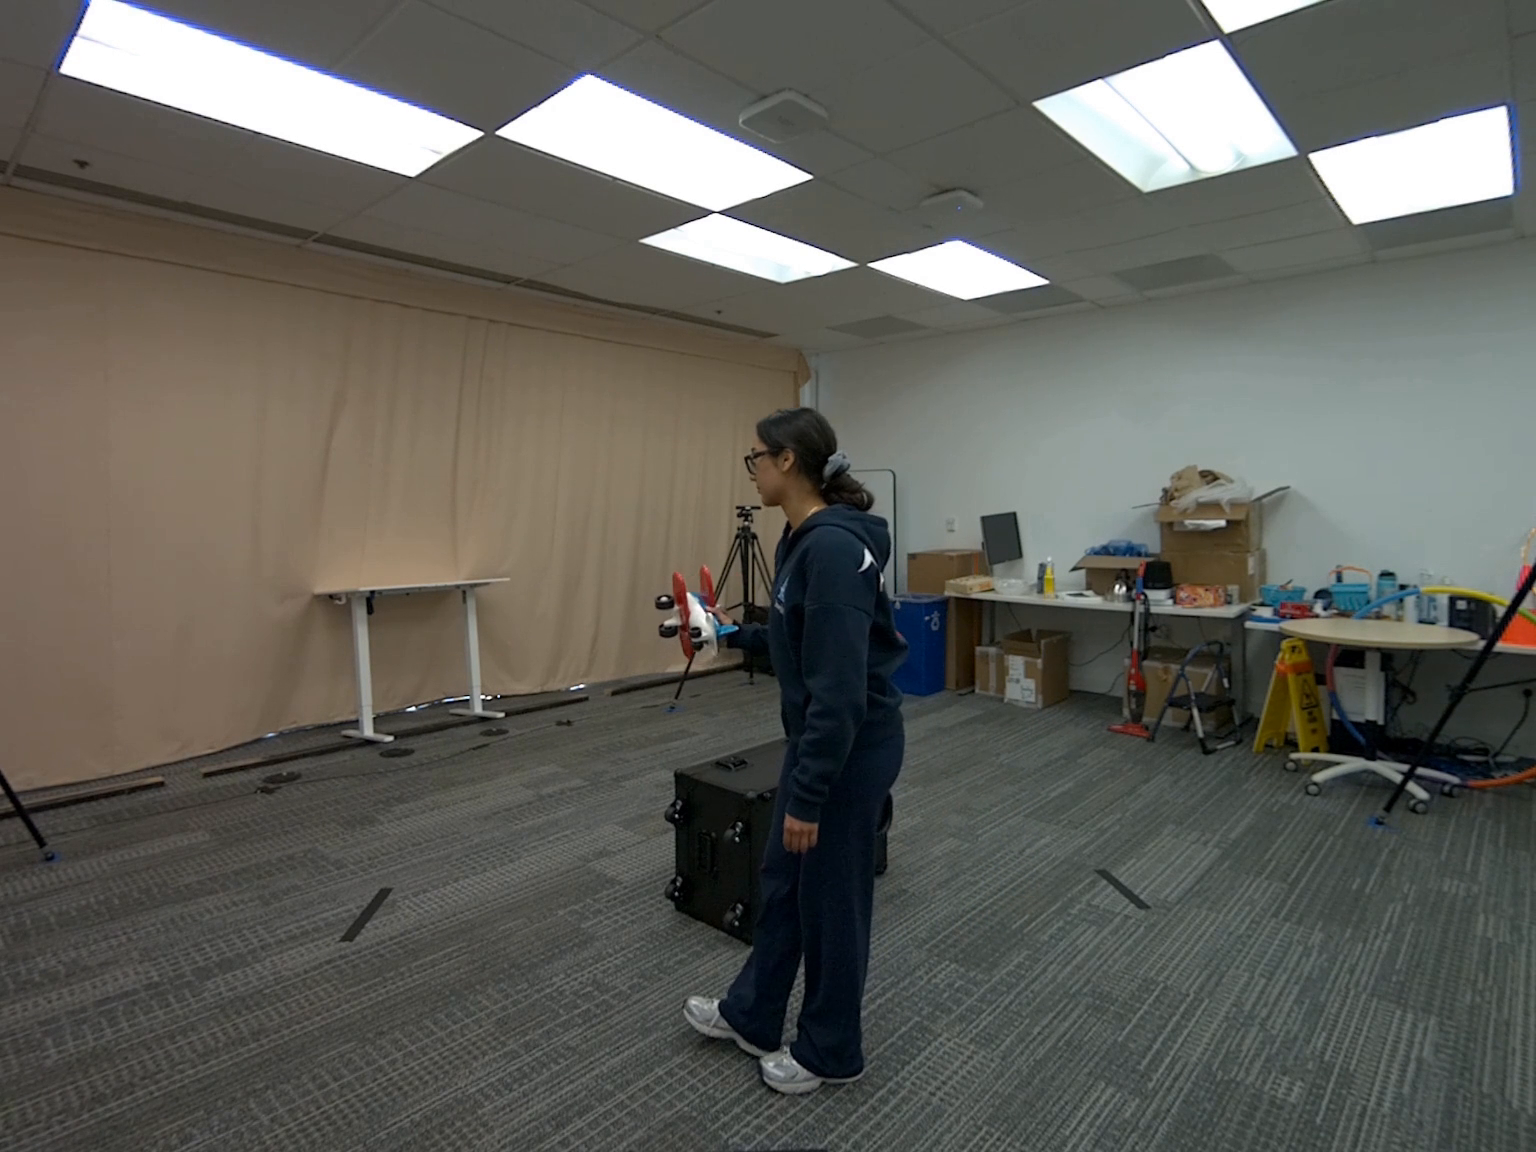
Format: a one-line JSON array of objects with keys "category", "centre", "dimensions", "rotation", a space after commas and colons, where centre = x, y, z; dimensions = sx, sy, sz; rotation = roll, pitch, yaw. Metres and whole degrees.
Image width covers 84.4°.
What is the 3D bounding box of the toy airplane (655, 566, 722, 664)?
[{"category": "toy airplane", "centre": [-0.182, 0.135, 2.290], "dimensions": [0.153, 0.248, 0.268], "rotation": [-19, 52, -30]}]
